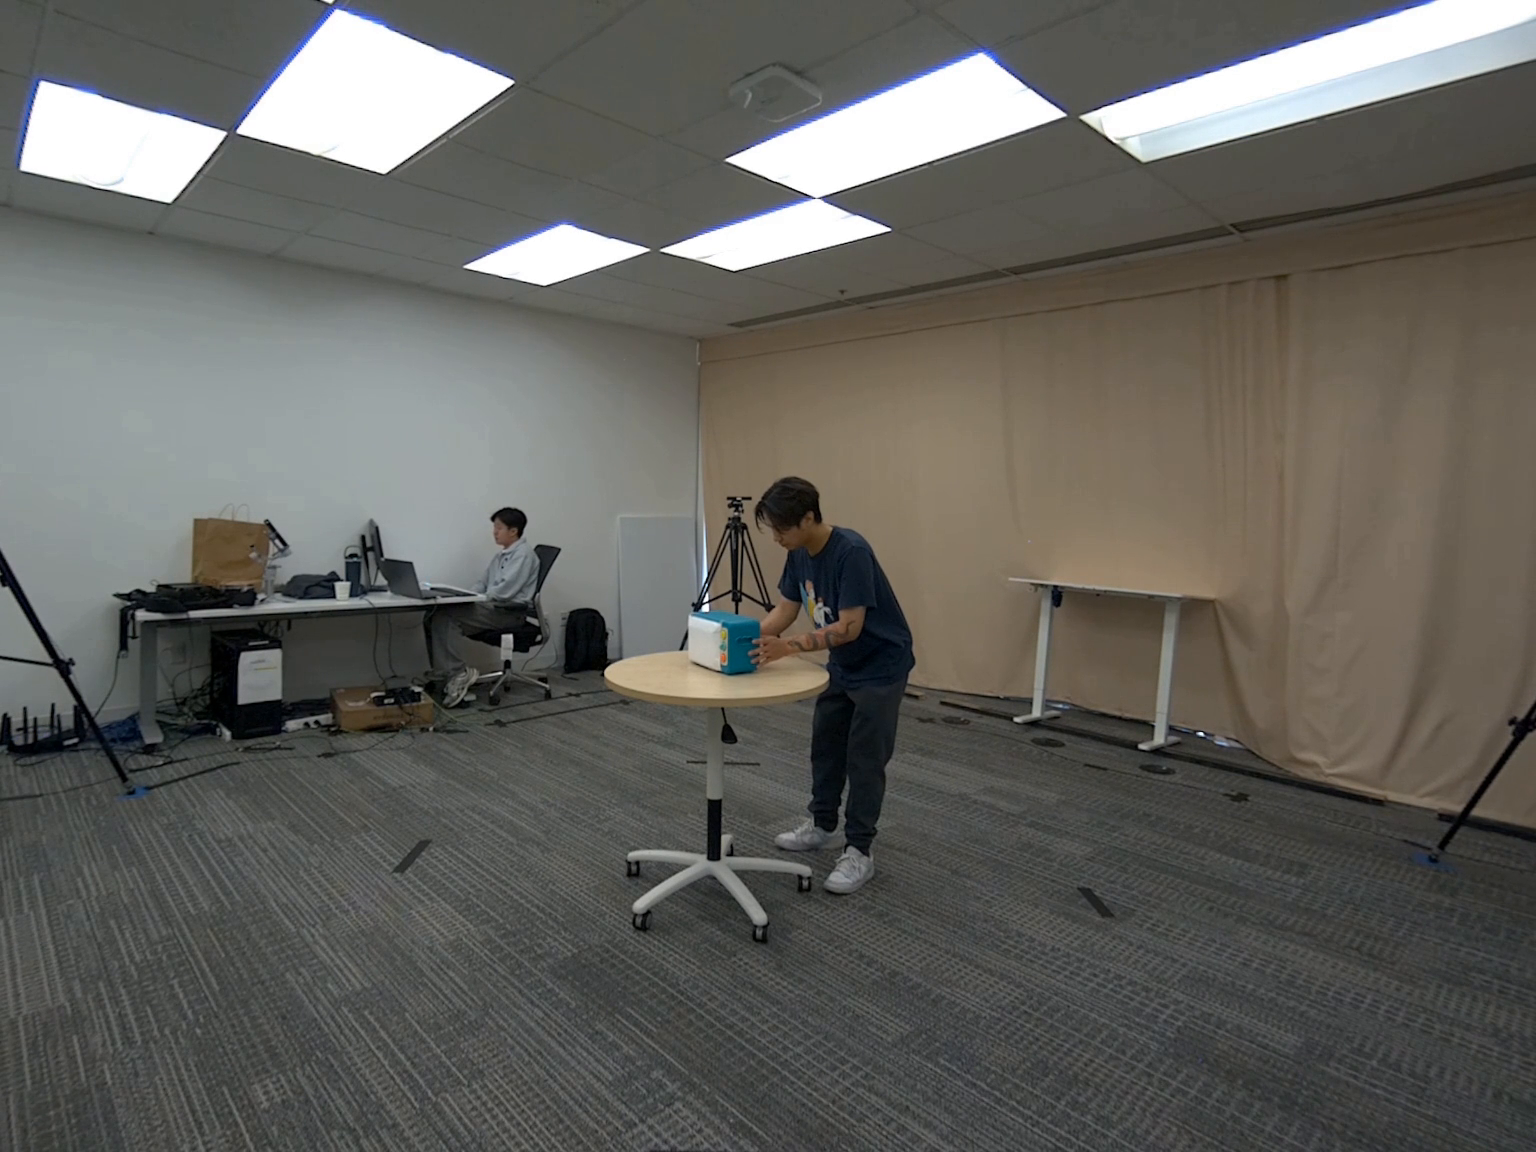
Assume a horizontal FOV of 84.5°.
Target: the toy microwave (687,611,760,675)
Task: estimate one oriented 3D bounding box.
[{"bbox_3d":[-0.165,0.230,2.935,0.149,0.183,0.293,-2,6,-34],"label":"toy microwave"}]
